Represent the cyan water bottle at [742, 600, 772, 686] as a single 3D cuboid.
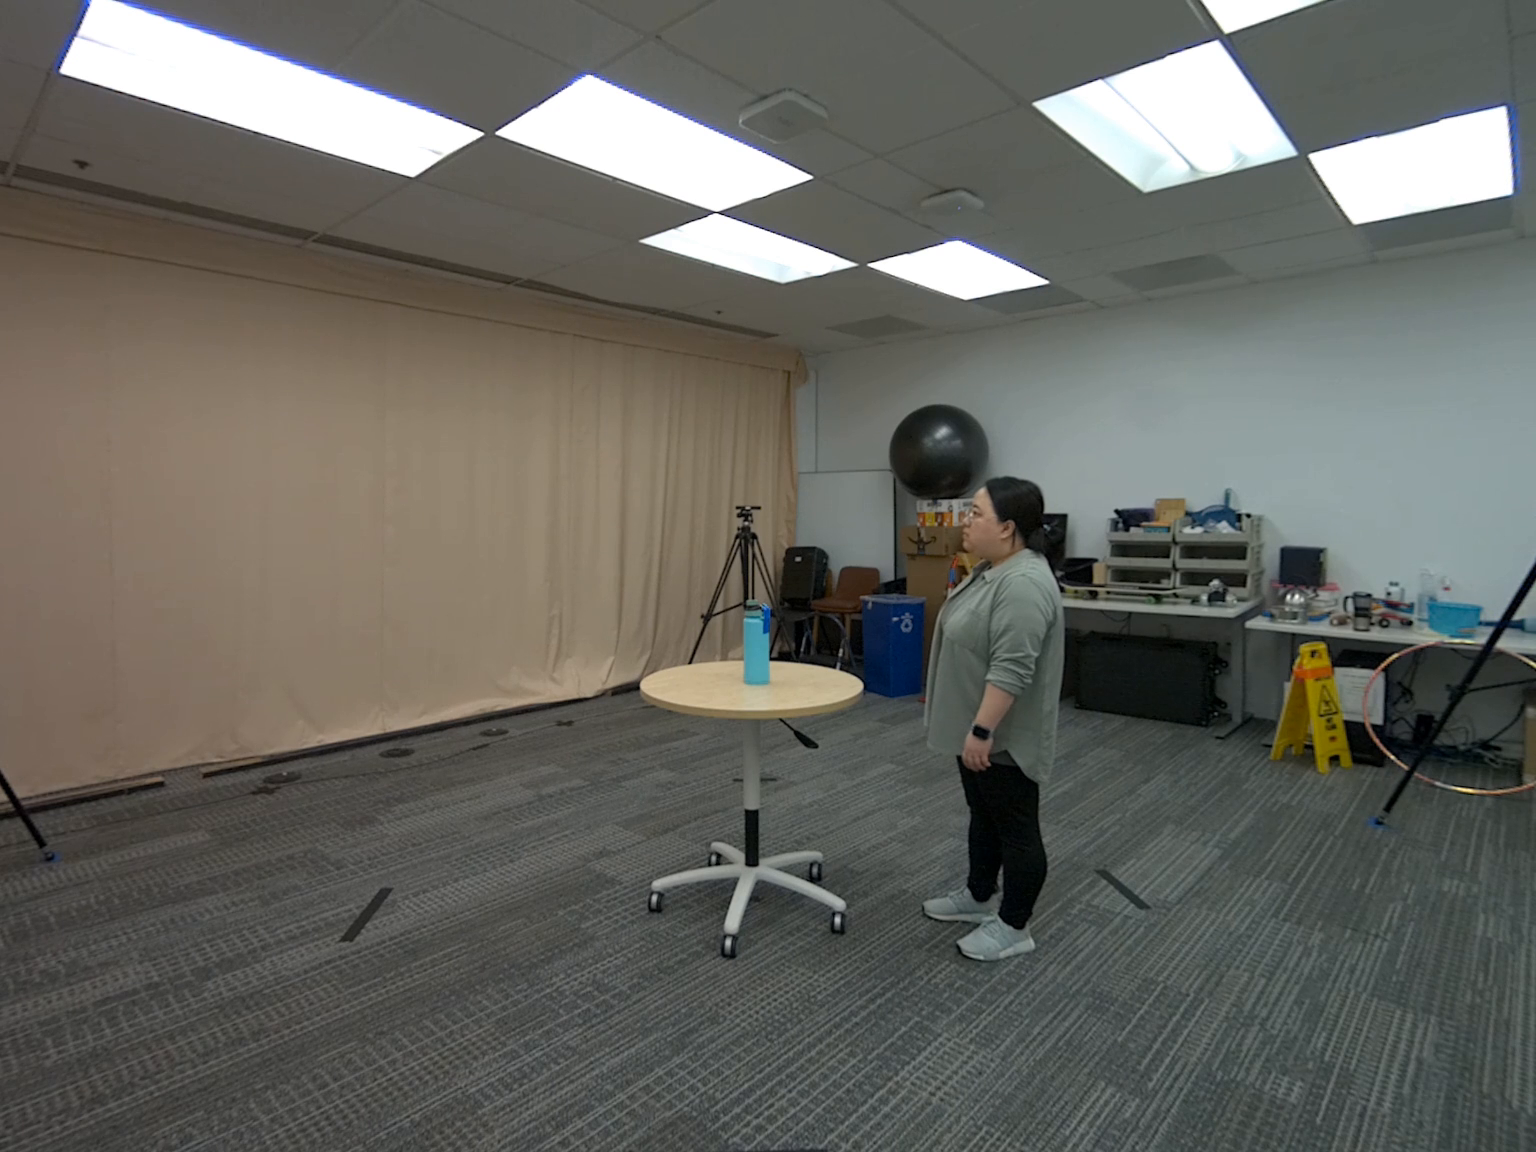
[{"bbox_3d":[-0.031,0.230,2.895,0.092,0.283,0.093,4,4,-2],"label":"cyan water bottle"}]
